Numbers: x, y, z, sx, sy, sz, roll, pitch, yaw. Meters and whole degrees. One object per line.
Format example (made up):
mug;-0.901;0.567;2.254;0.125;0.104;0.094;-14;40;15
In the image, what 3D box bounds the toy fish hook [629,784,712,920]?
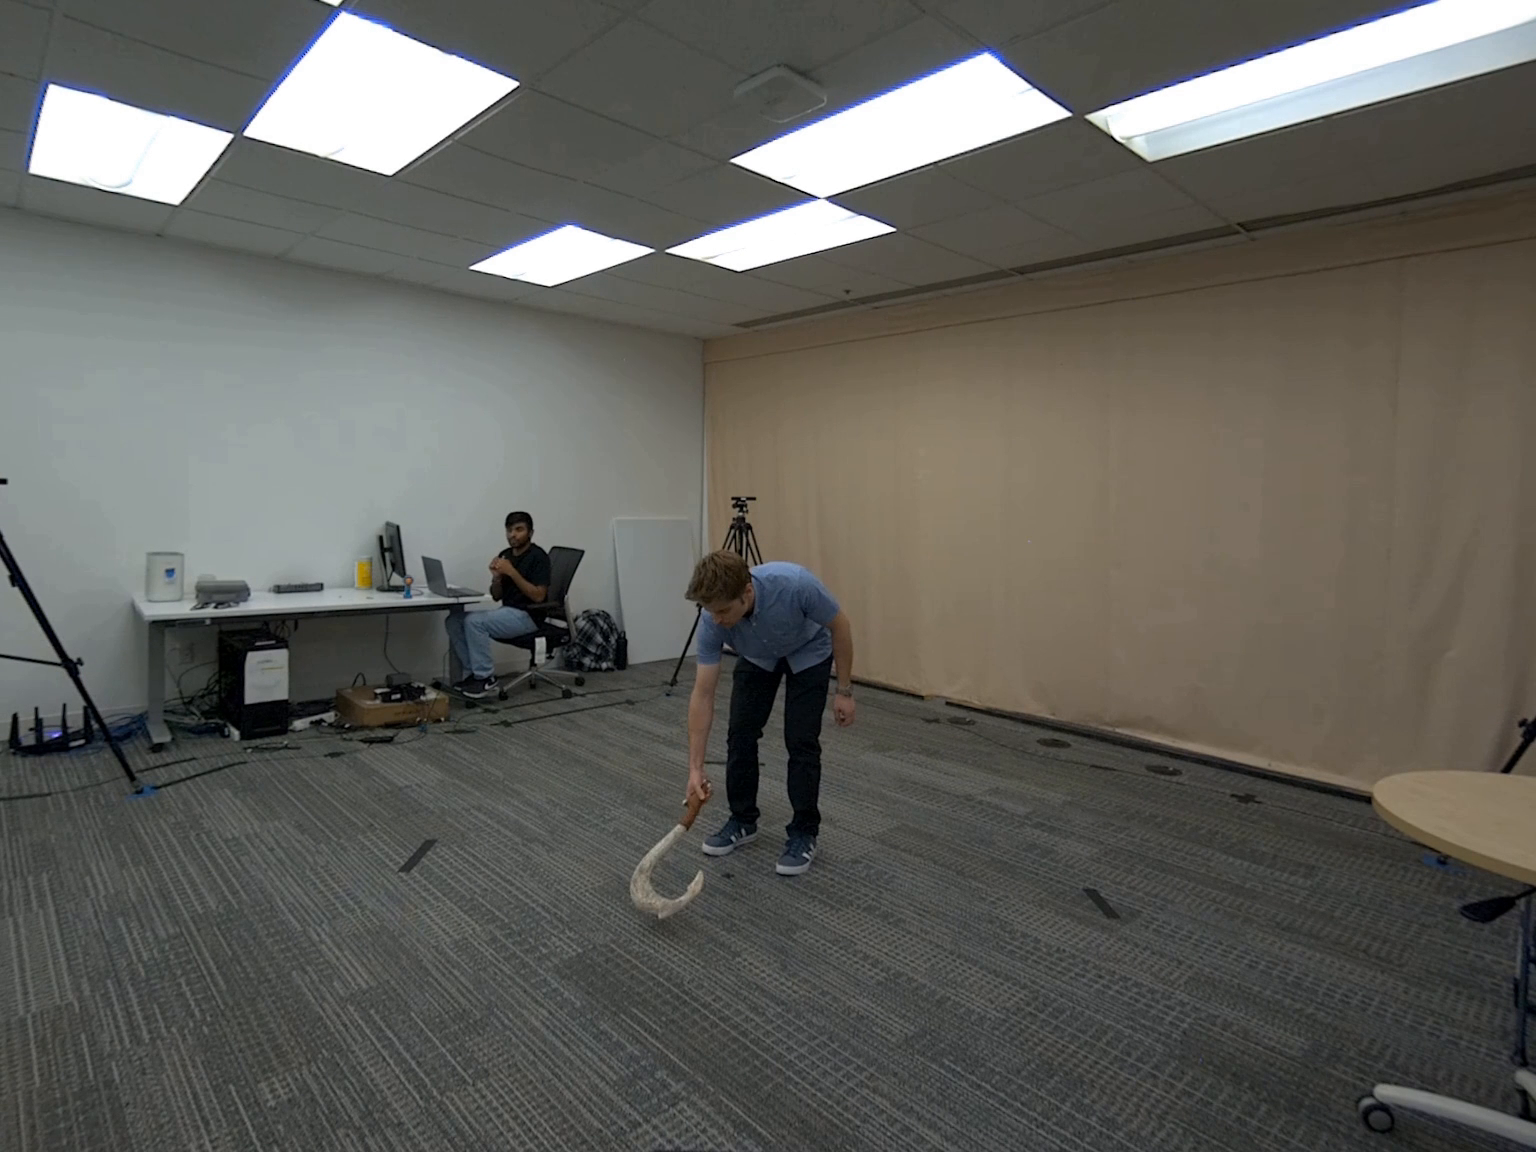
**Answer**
toy fish hook;-0.270;0.911;2.844;0.228;0.047;0.509;19;47;15
